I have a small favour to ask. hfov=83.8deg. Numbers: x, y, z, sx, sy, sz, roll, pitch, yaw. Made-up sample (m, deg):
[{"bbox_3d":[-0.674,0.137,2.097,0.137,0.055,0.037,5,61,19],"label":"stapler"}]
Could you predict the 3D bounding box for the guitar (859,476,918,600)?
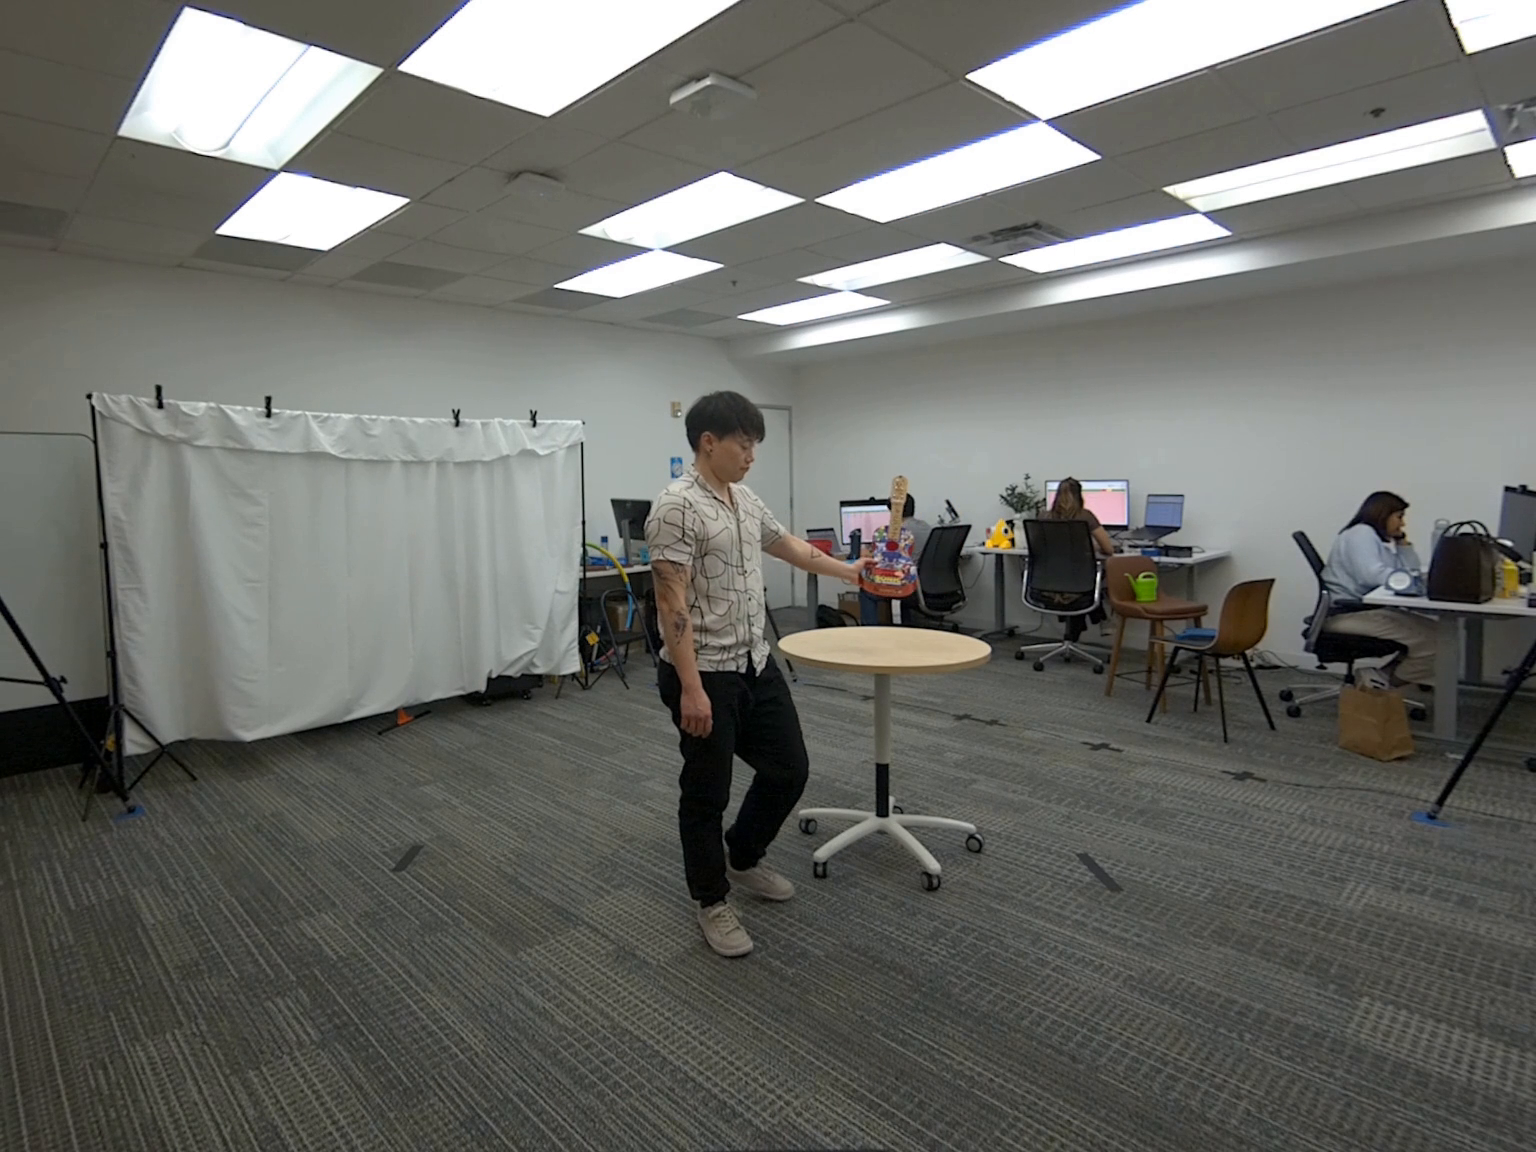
[{"bbox_3d":[0.494,-0.151,3.085,0.197,0.503,0.068,14,-32,17],"label":"guitar"}]
